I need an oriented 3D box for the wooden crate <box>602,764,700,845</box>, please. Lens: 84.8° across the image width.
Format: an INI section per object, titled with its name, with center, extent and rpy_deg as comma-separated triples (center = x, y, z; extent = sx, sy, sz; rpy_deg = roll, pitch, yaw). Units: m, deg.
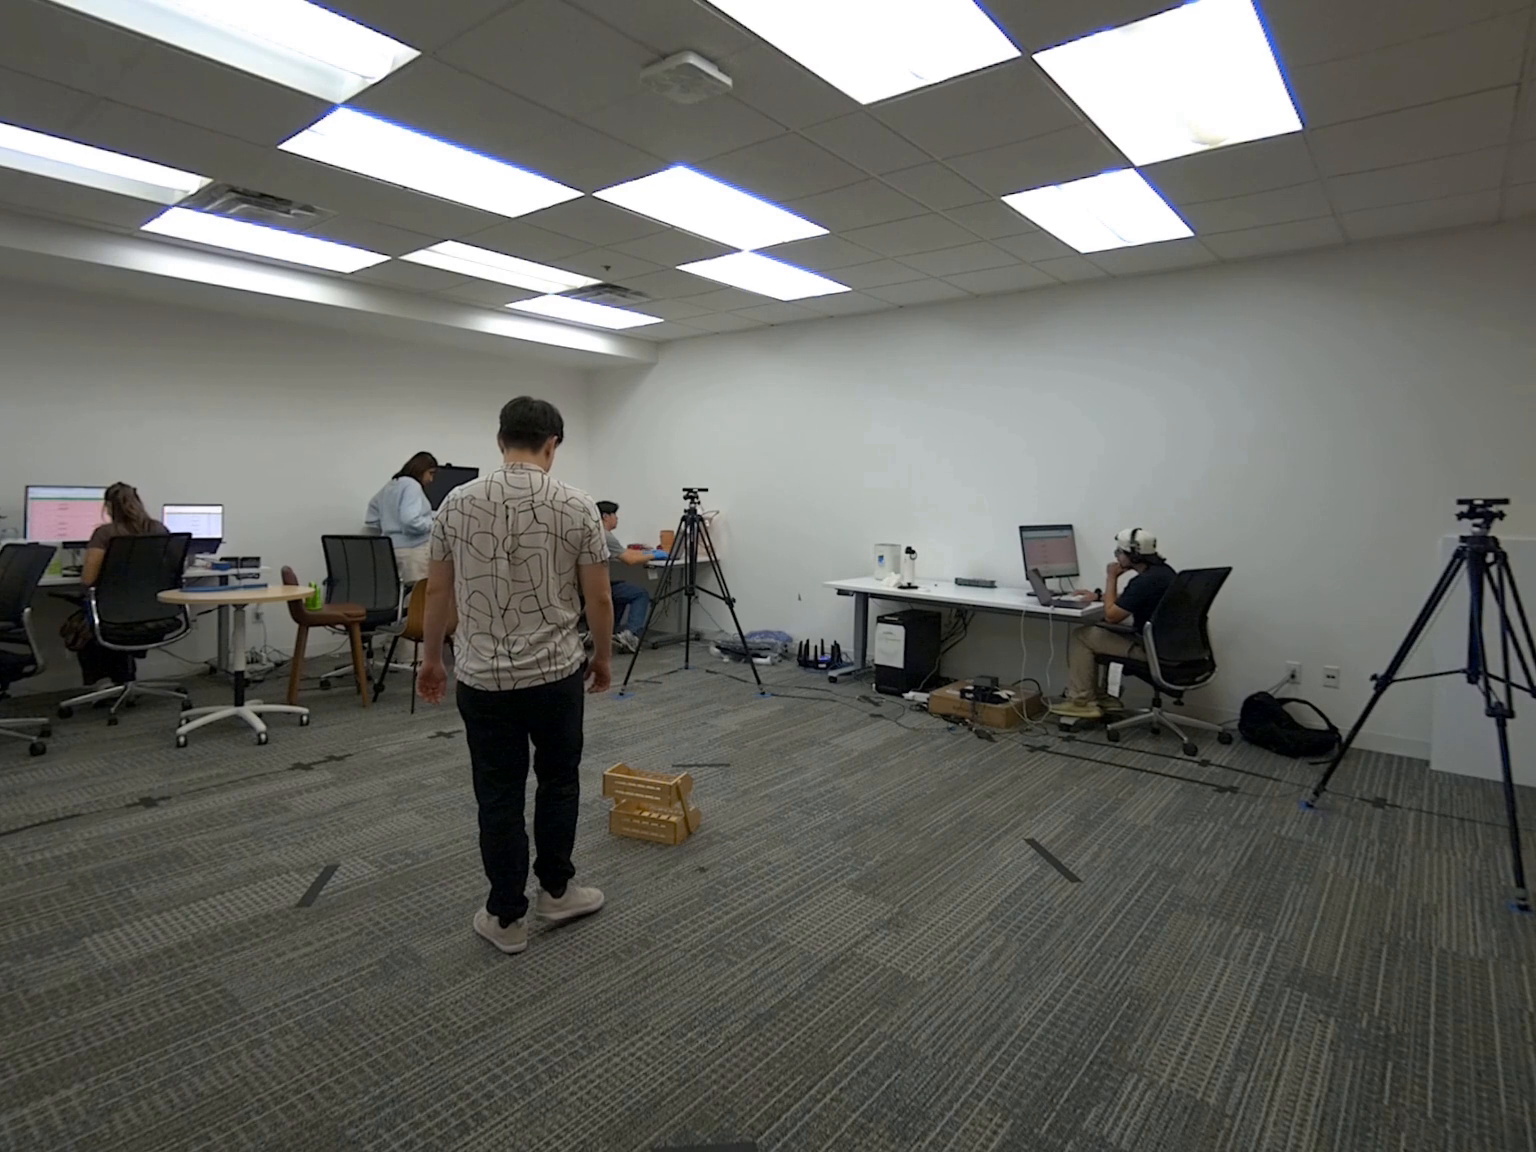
[wooden crate]
center = -0.478, 0.899, 3.457
extent = 0.332, 0.272, 0.296
rpy_deg = 3, 5, 21
